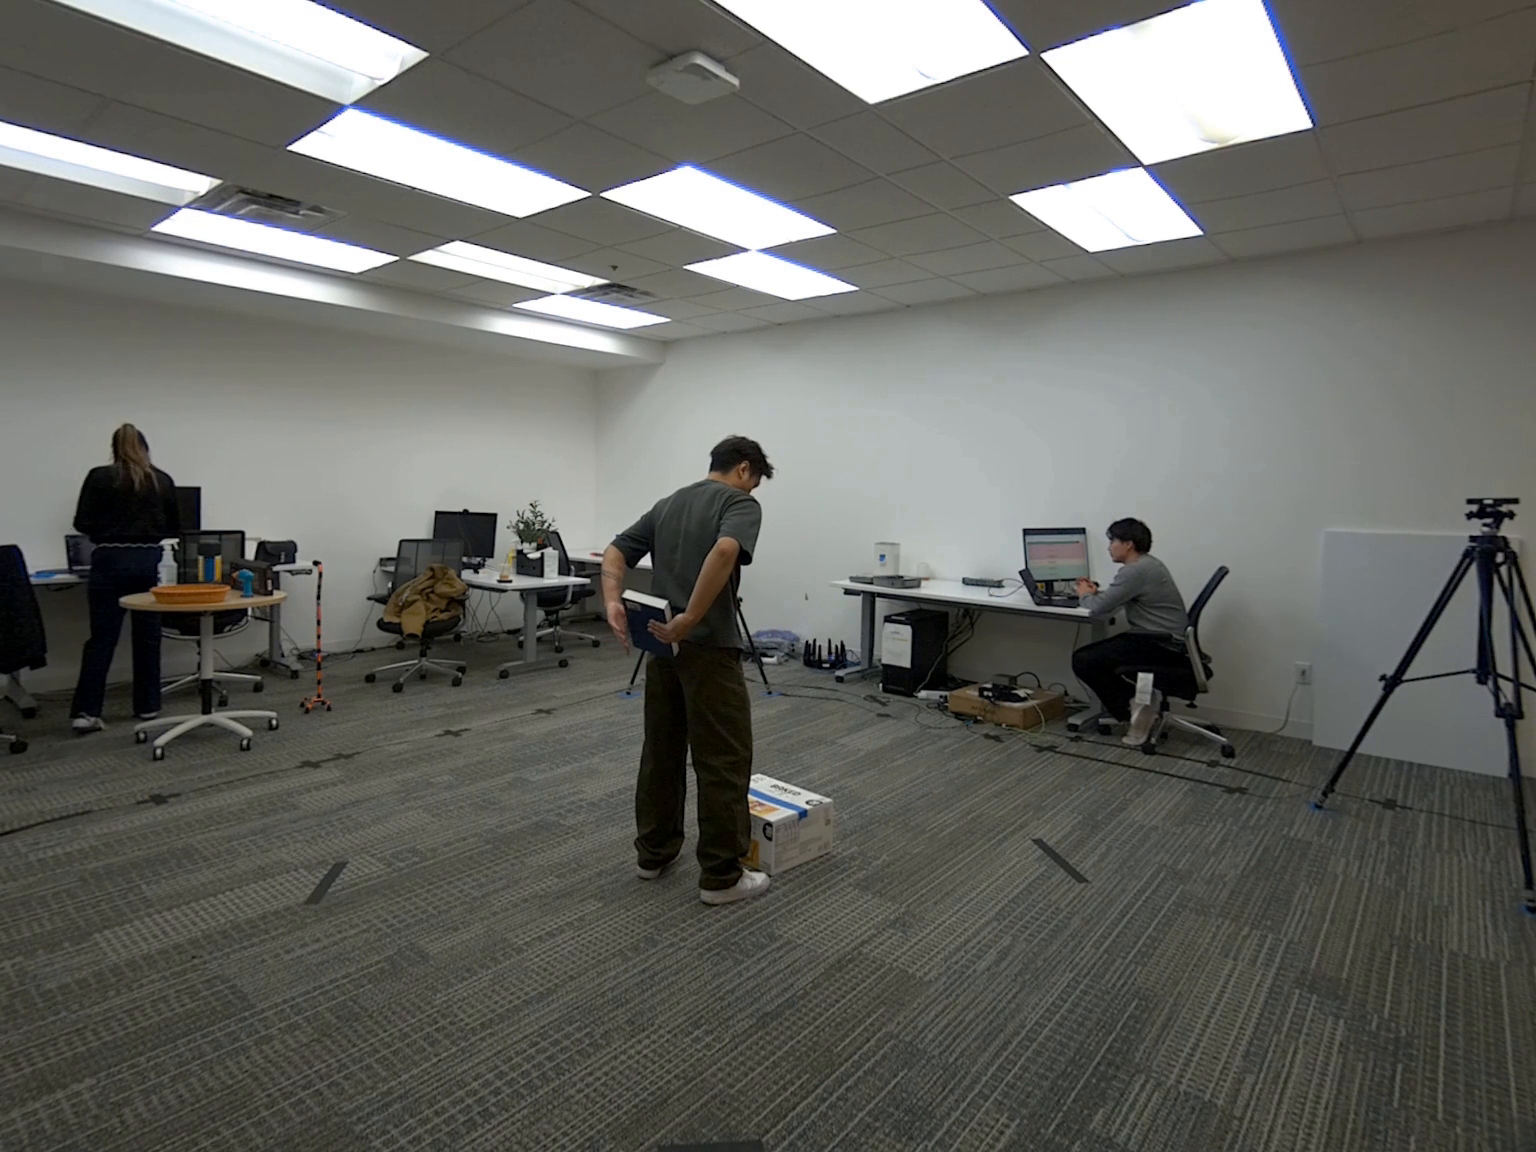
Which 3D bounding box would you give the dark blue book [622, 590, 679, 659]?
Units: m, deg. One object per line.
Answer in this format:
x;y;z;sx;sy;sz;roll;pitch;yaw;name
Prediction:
-0.391;0.150;2.776;0.168;0.237;0.045;15;47;21;dark blue book
